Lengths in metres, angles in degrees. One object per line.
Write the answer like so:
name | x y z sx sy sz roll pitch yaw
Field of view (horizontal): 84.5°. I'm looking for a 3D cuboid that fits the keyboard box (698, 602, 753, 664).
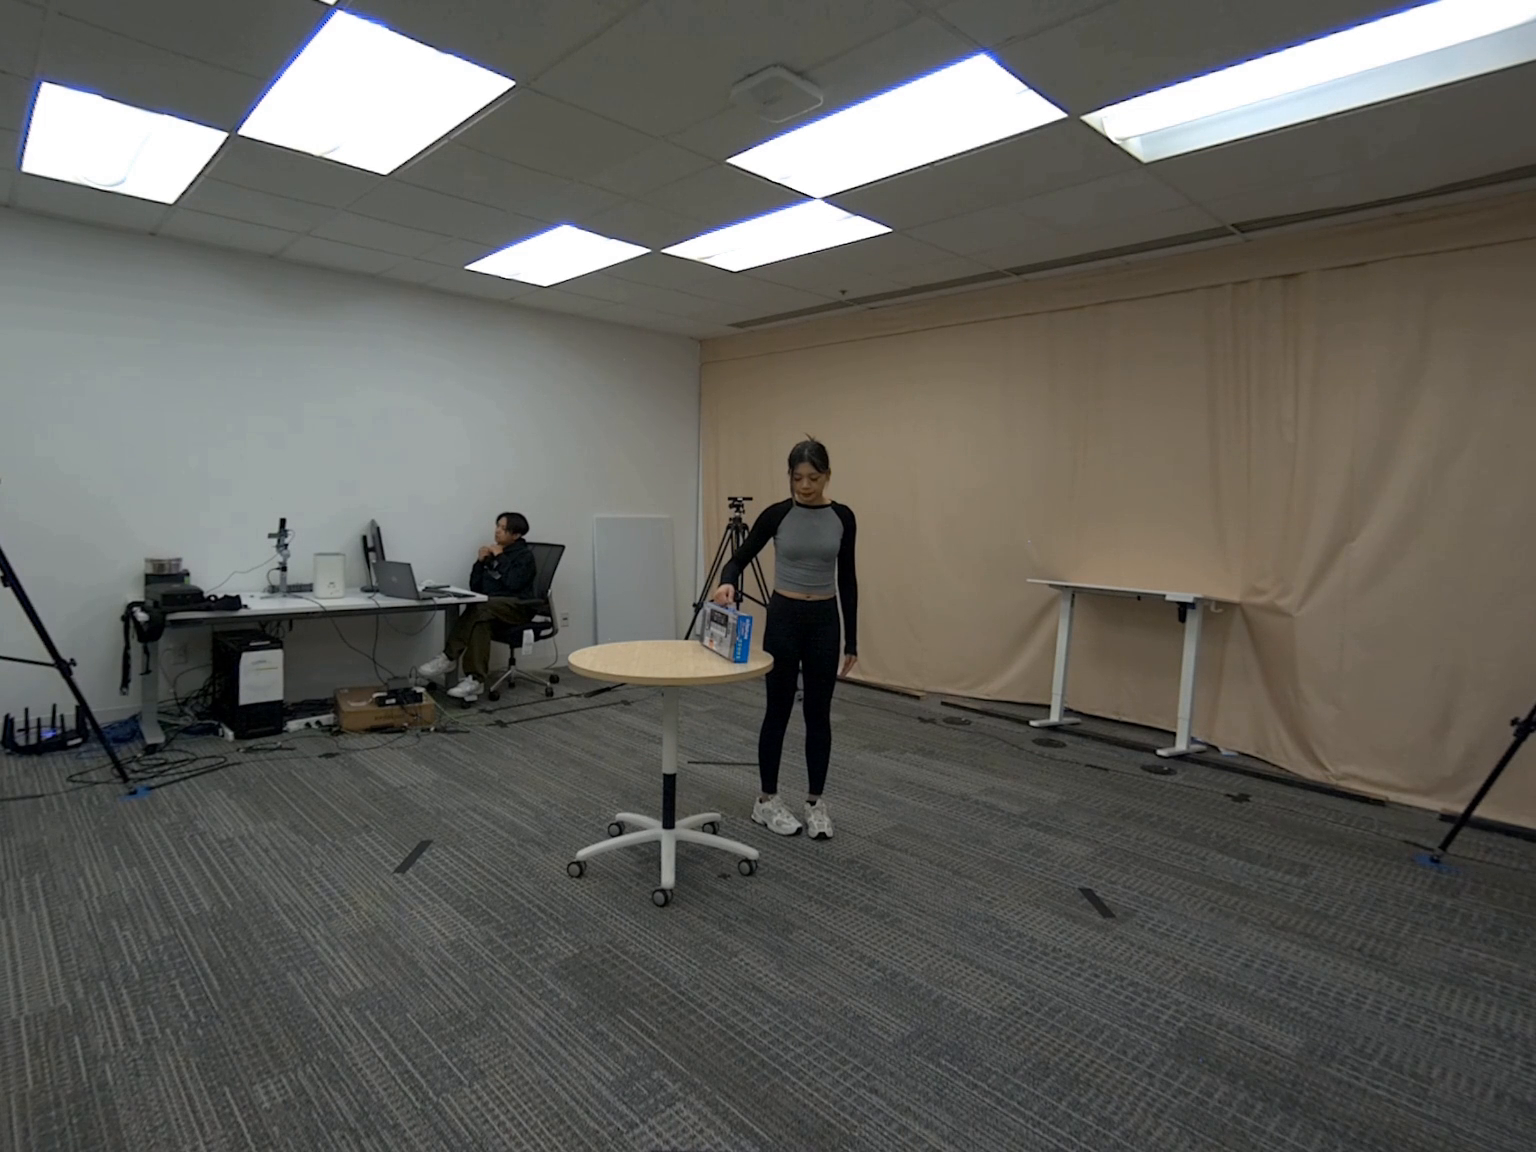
keyboard box | -0.174 0.213 3.255 0.058 0.176 0.444 6 3 -20
